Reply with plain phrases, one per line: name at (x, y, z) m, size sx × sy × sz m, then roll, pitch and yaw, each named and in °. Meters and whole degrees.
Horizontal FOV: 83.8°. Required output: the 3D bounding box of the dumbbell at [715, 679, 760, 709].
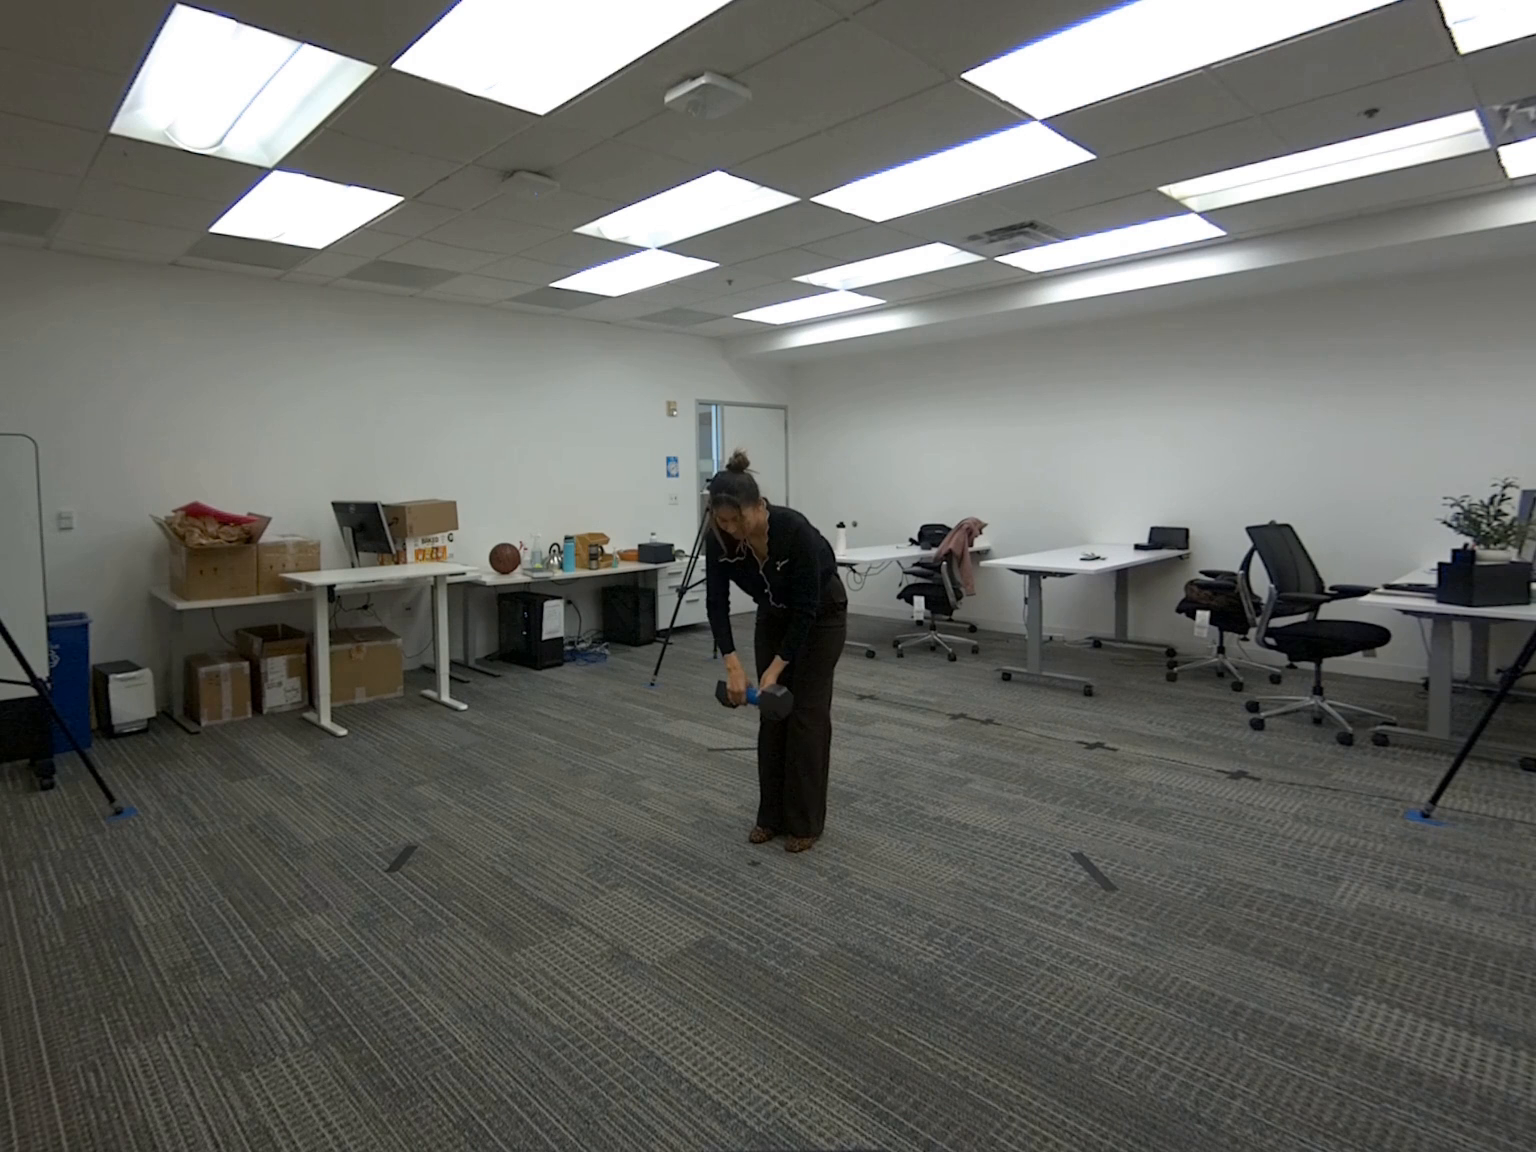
dumbbell at (-0.048, 0.442, 3.095) m, size 0.303 × 0.107 × 0.121 m, roll 6°, pitch 22°, yaw 43°
